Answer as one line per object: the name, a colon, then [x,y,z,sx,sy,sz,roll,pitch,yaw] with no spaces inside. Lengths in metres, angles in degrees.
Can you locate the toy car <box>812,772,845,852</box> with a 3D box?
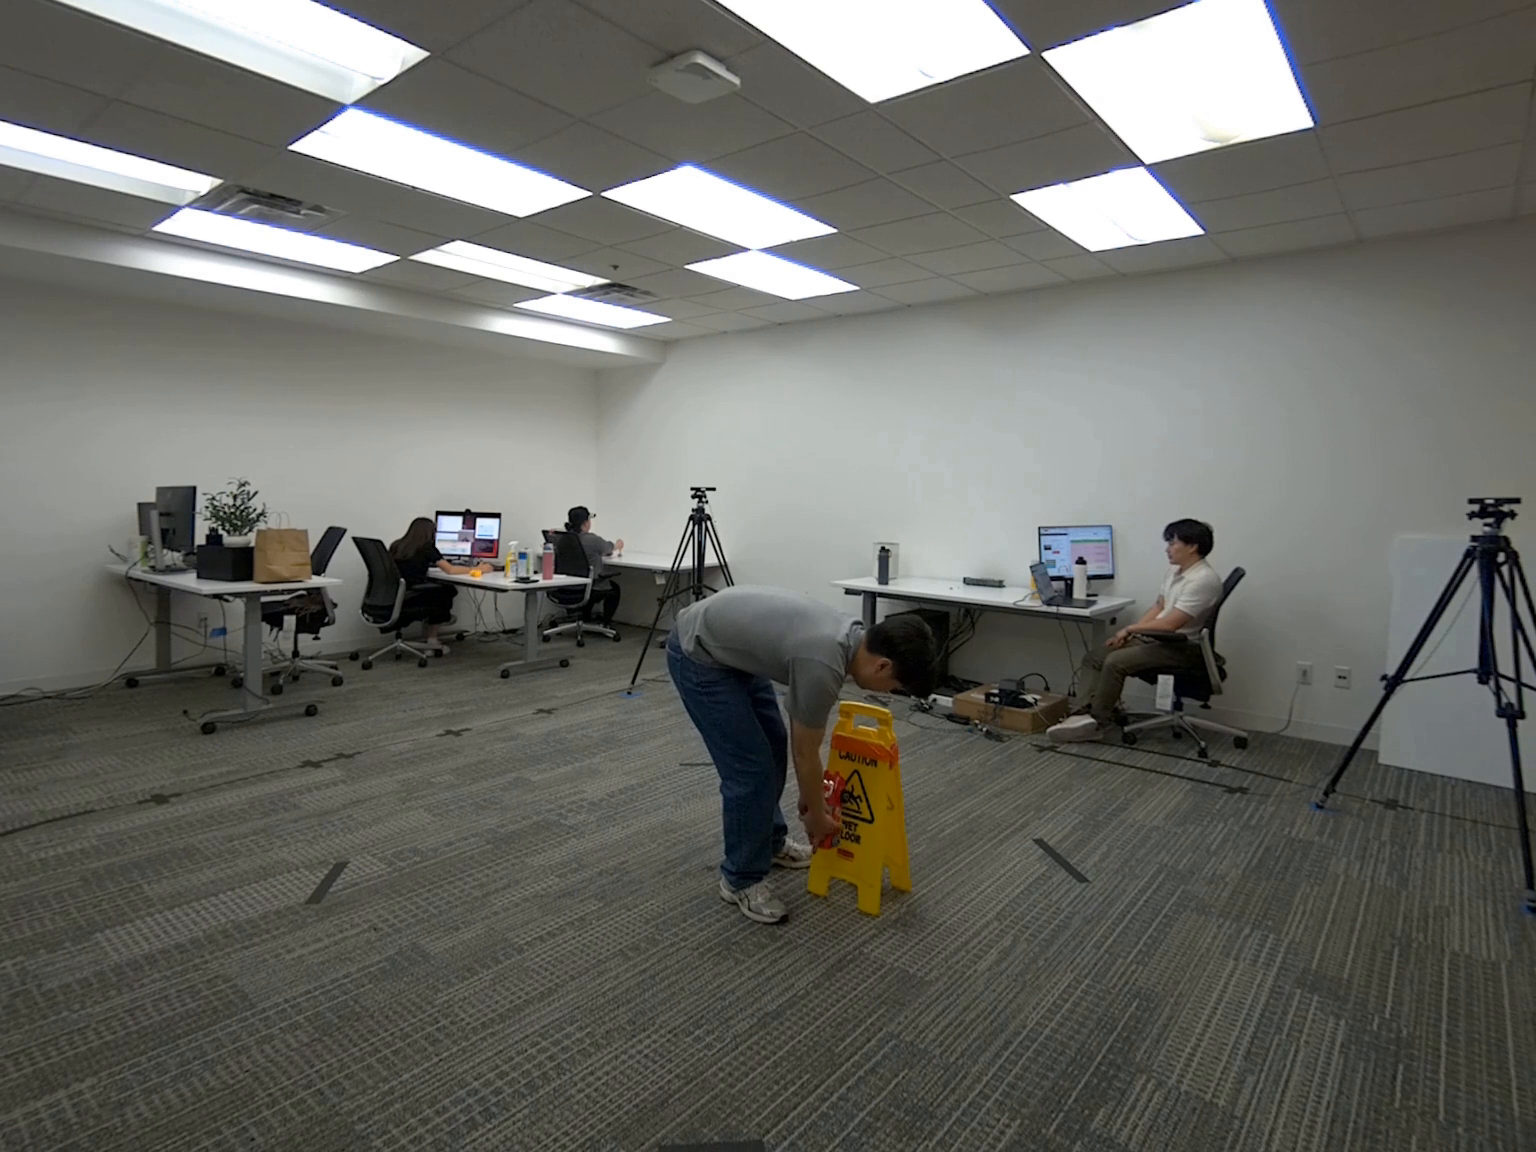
toy car: [0.204,0.791,2.886,0.134,0.256,0.080,1,-12,39]
